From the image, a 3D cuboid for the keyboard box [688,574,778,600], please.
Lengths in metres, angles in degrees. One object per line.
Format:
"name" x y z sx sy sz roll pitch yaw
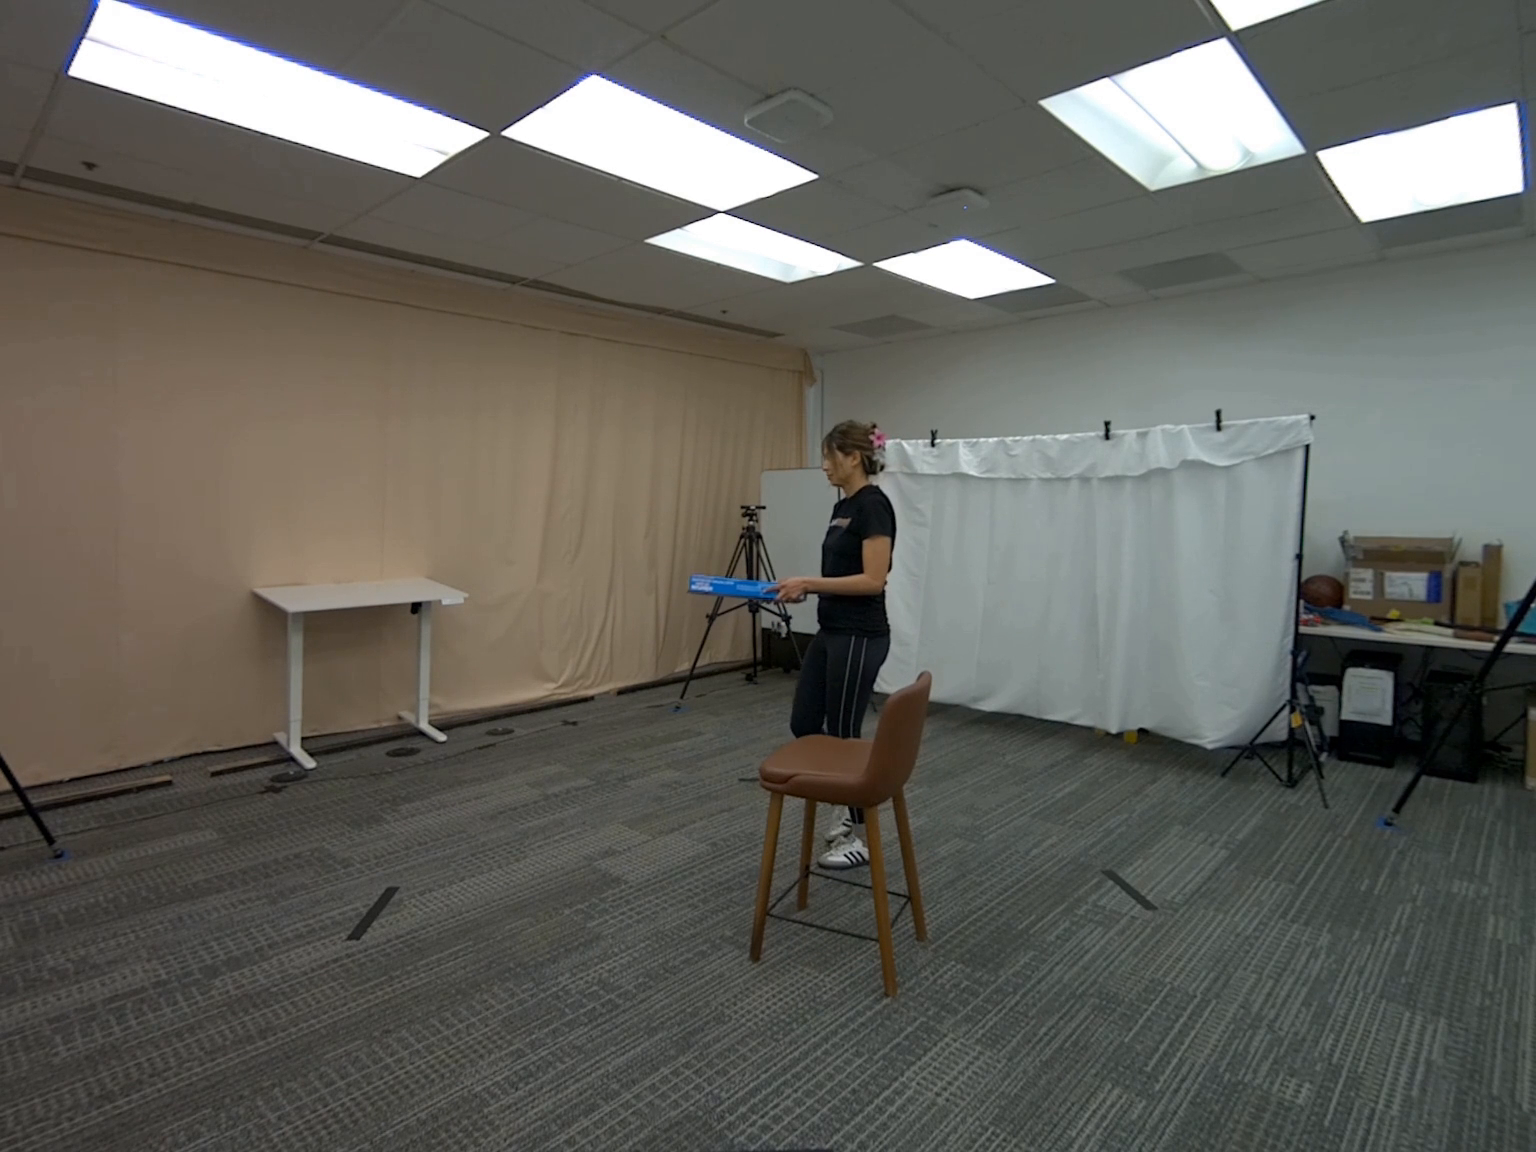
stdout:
"keyboard box" -0.081 0.056 3.192 0.435 0.059 0.176 6 -7 -4
